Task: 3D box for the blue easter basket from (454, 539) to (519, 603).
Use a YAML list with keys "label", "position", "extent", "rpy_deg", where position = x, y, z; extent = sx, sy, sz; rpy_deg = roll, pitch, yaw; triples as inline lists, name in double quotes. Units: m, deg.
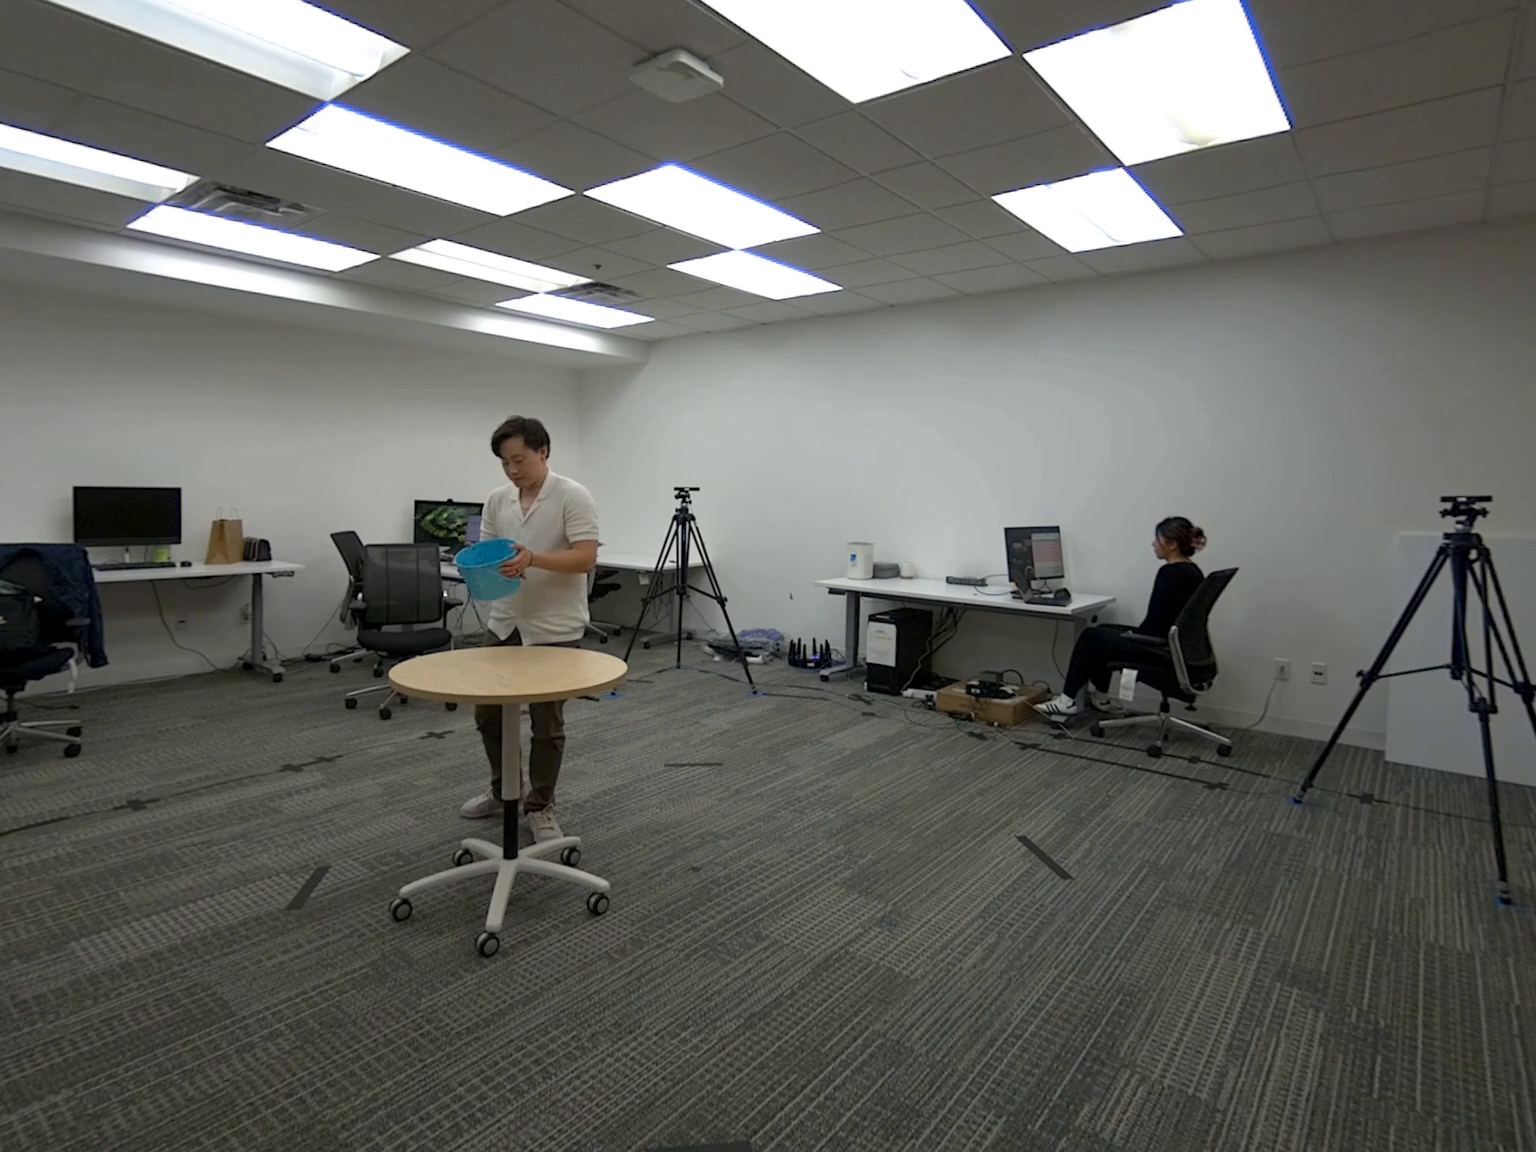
- label: "blue easter basket"
  position: [-1.031, -0.020, 3.150]
  extent: [0.244, 0.152, 0.249]
  rpy_deg: [-8, 26, 2]
